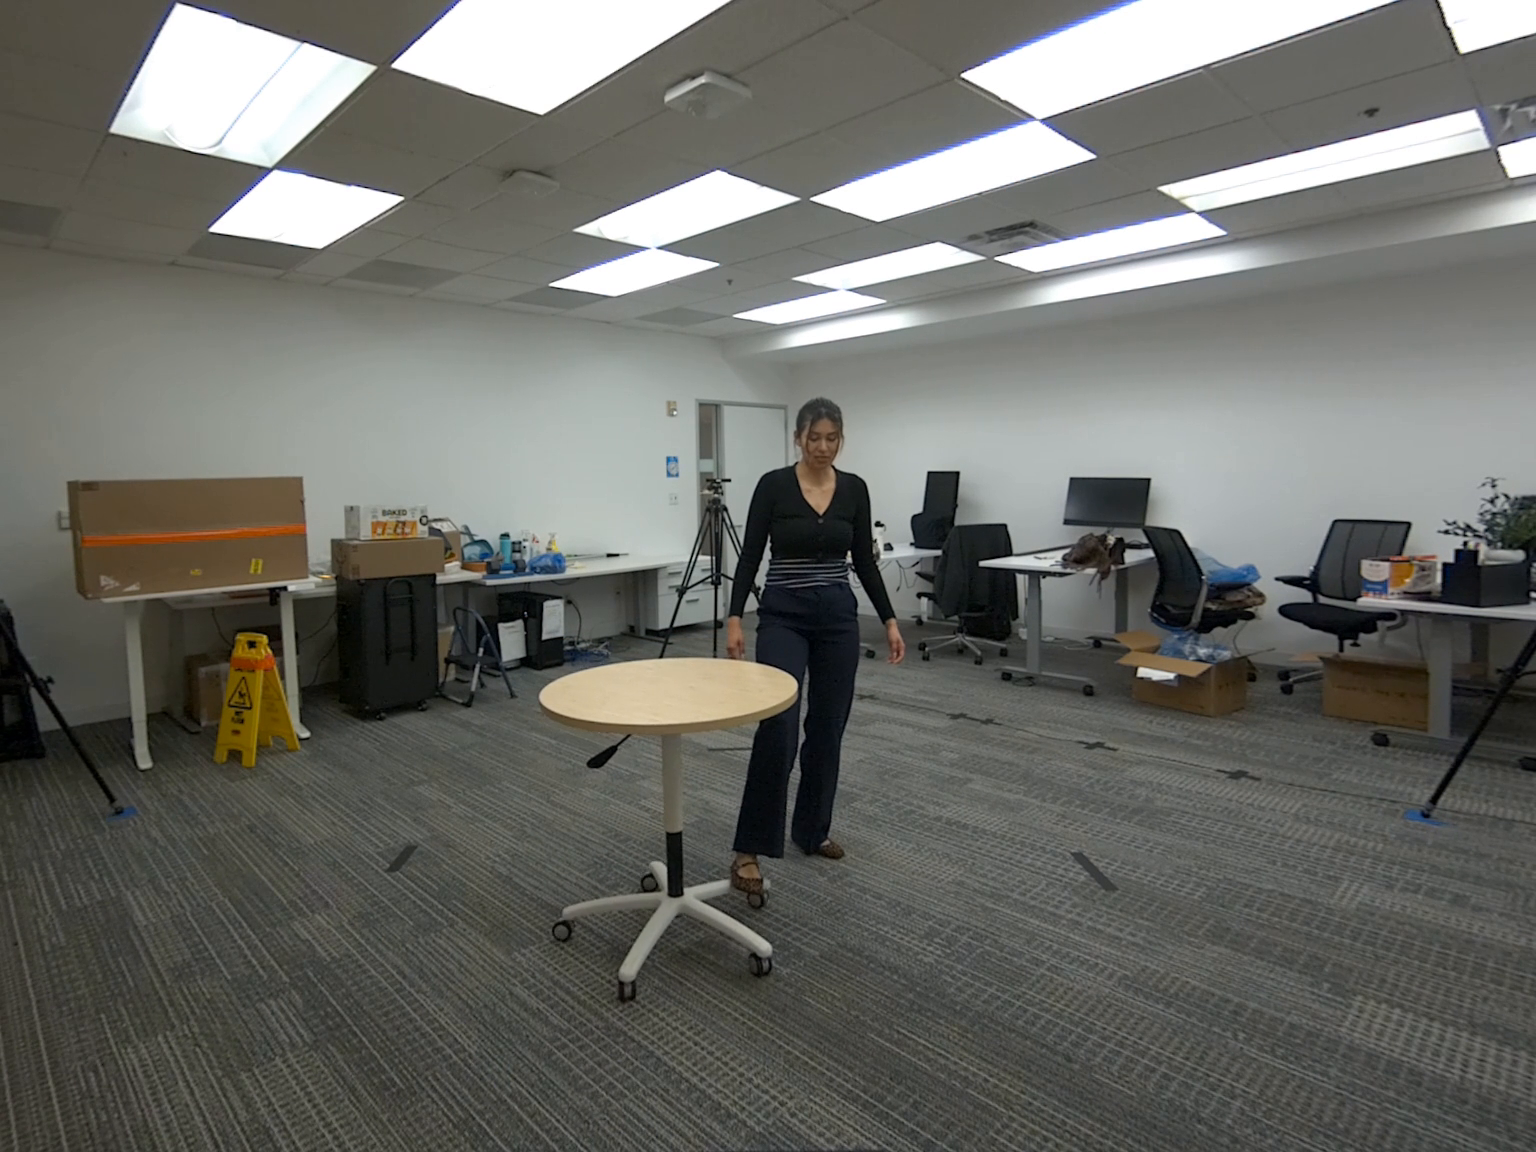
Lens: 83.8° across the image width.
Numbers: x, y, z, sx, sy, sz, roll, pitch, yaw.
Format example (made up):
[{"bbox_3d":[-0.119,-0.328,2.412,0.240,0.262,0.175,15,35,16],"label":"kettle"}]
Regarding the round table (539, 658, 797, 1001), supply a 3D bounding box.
[{"bbox_3d":[-0.278,0.723,2.580,0.763,0.790,0.768,-2,6,-2],"label":"round table"}]
